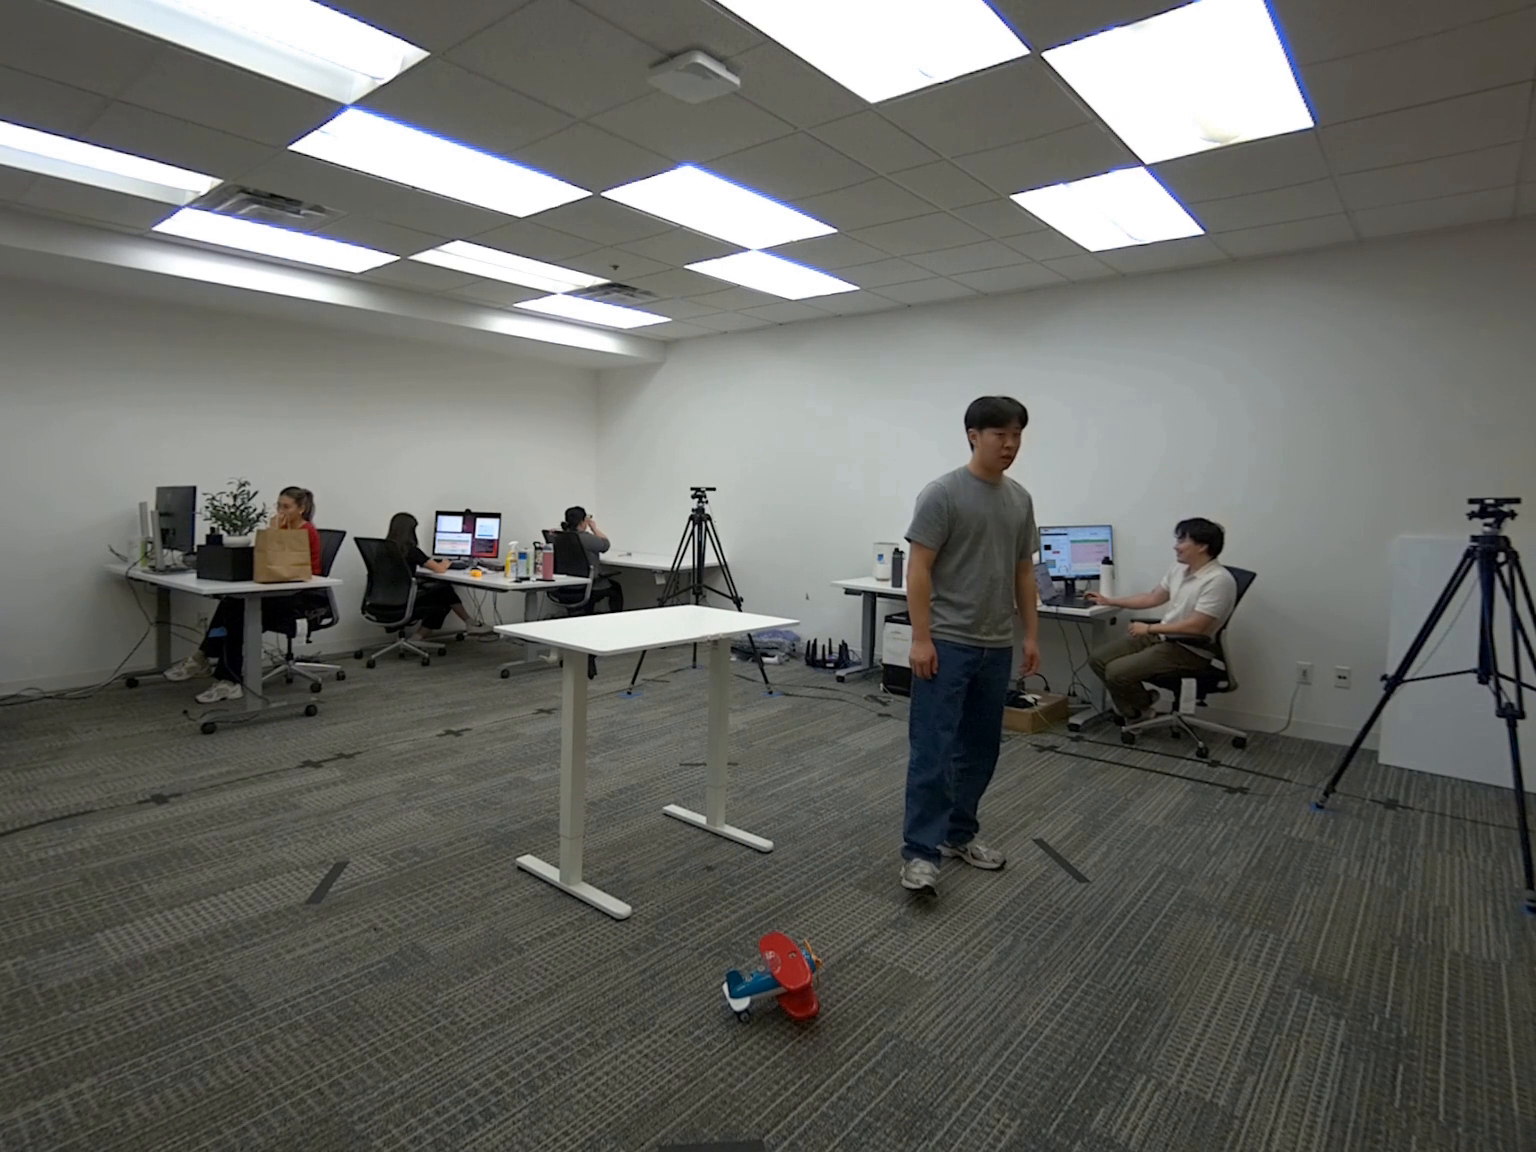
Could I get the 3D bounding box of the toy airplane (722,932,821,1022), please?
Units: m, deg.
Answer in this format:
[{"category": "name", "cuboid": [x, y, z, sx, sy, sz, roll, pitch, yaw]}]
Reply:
[{"category": "toy airplane", "cuboid": [0.020, 1.086, 2.240, 0.260, 0.156, 0.251, 6, 6, 43]}]
